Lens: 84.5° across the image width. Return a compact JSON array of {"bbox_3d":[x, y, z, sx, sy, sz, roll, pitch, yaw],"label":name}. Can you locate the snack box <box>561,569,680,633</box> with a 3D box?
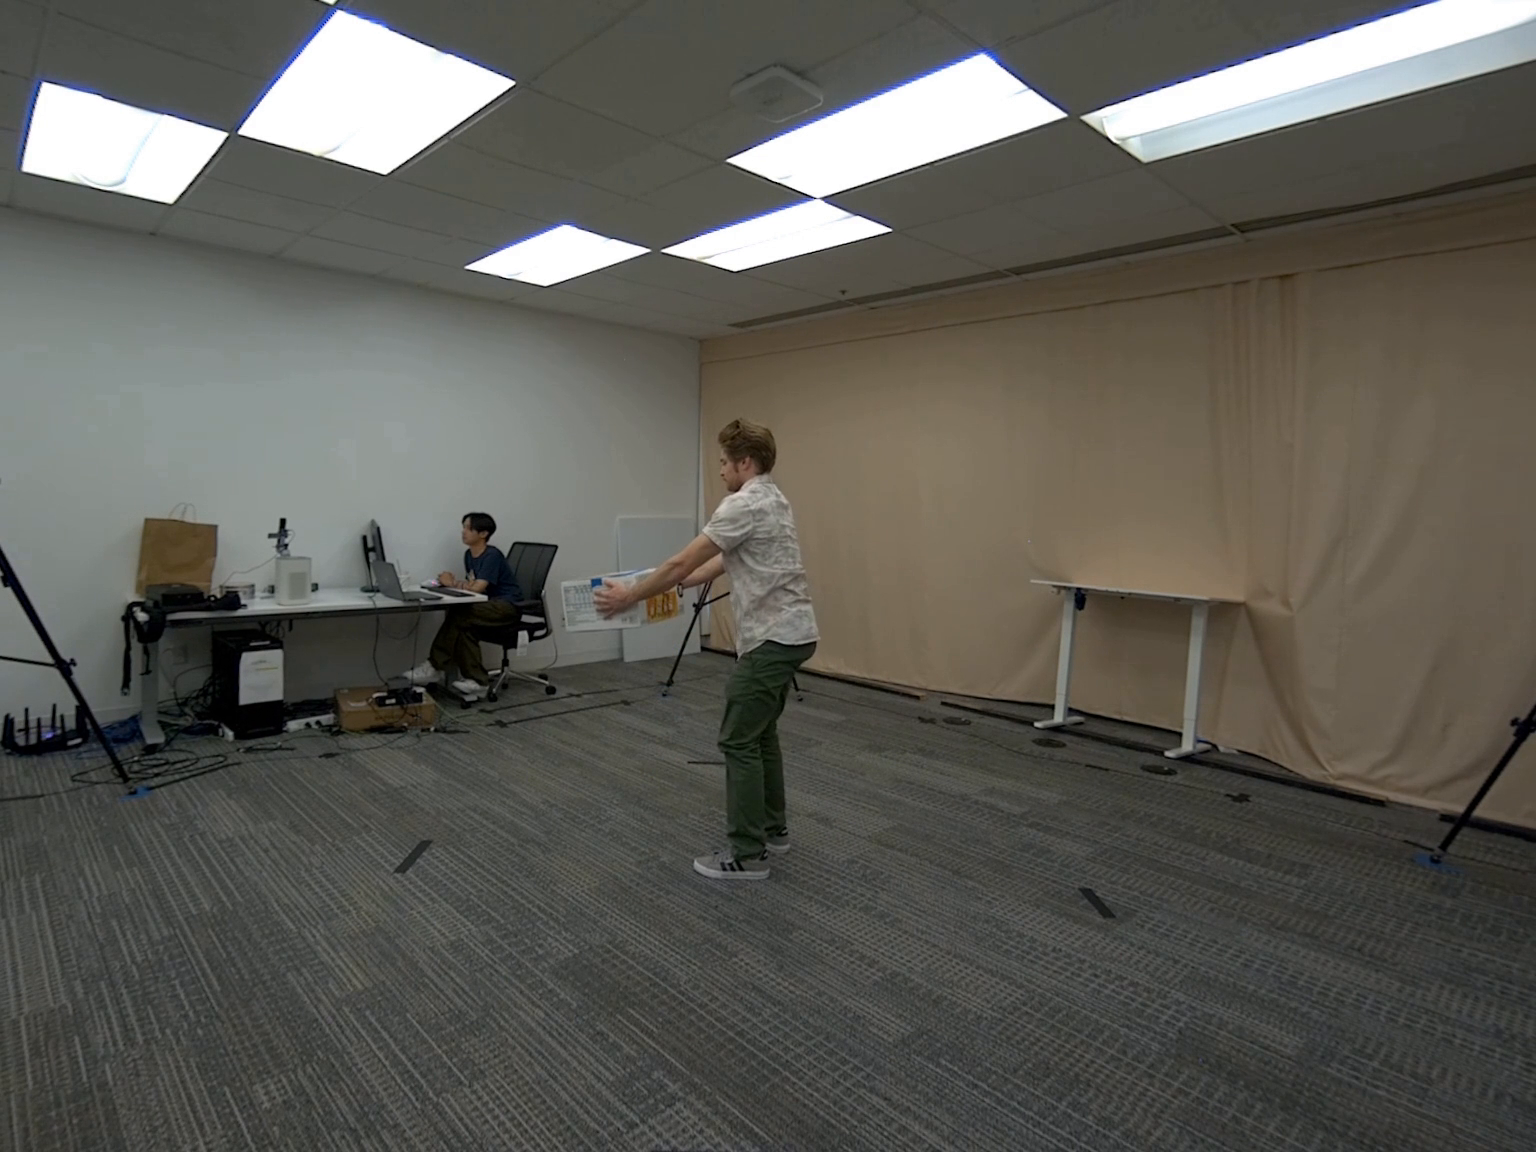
[{"bbox_3d":[-0.586,0.096,3.458,0.345,0.205,0.400,-5,3,21],"label":"snack box"}]
